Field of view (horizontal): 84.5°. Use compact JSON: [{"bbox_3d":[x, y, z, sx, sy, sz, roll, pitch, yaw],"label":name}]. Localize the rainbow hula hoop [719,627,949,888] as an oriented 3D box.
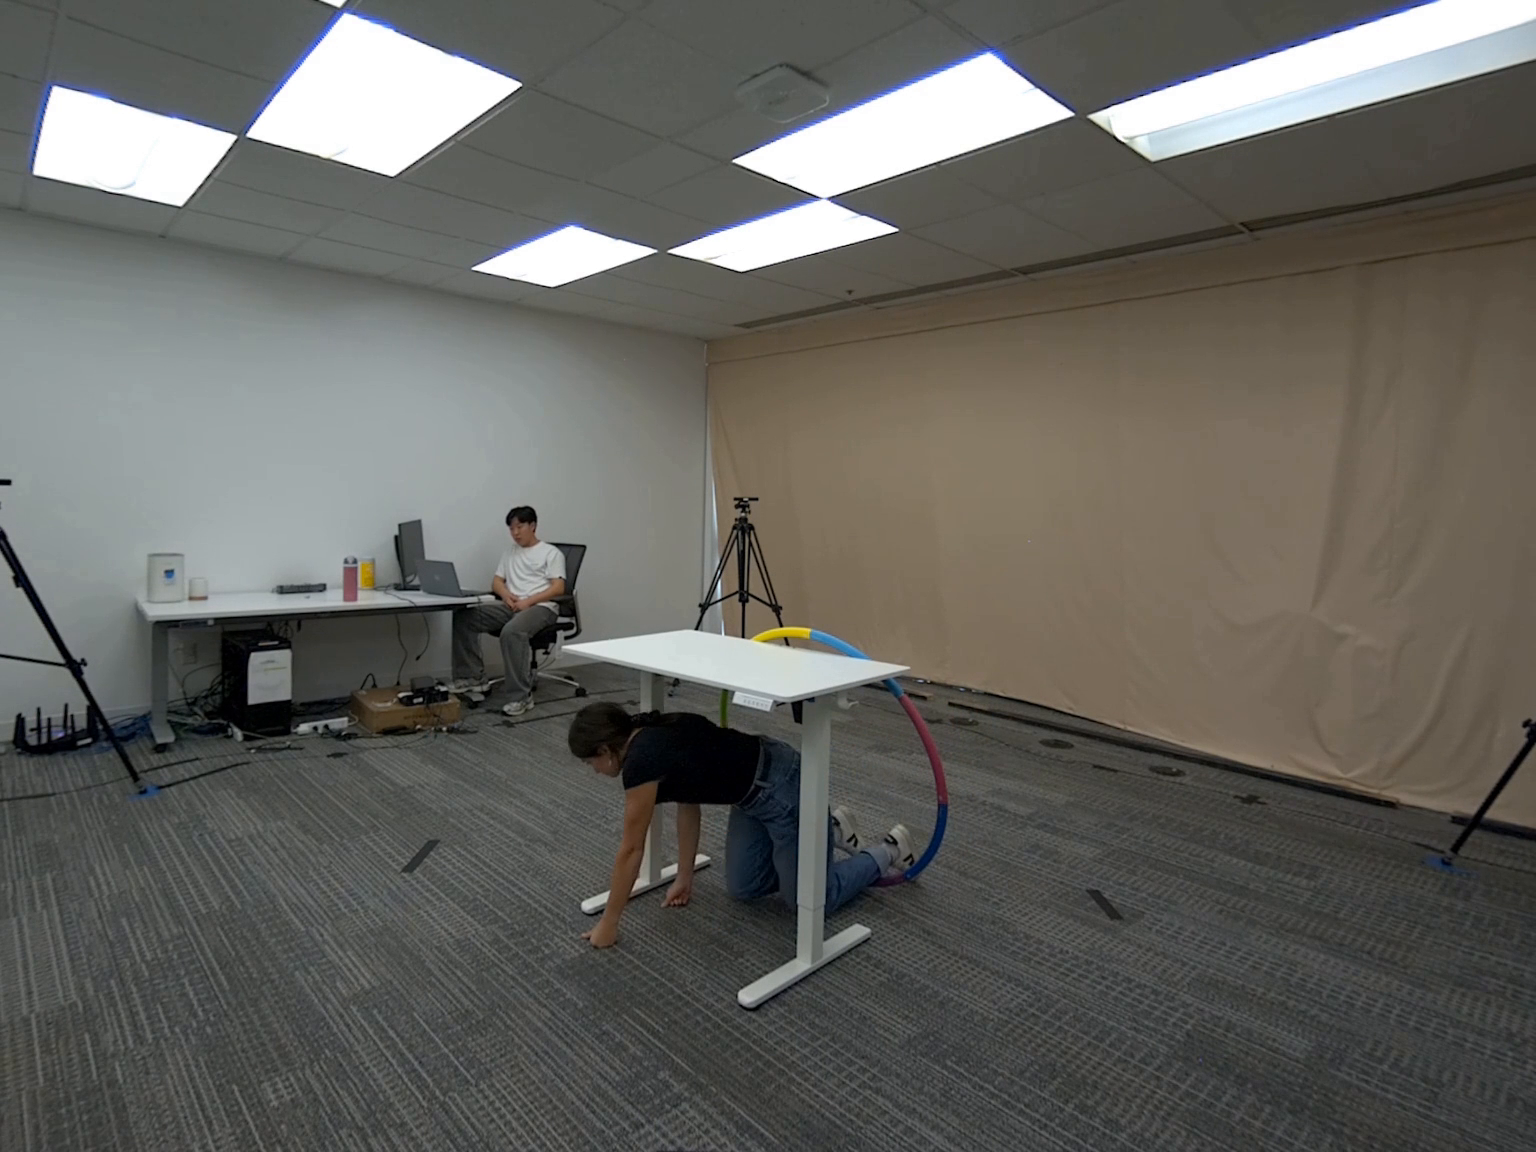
[{"bbox_3d":[0.182,0.658,2.989,1.004,0.967,0.035,5,18,42],"label":"rainbow hula hoop"}]
